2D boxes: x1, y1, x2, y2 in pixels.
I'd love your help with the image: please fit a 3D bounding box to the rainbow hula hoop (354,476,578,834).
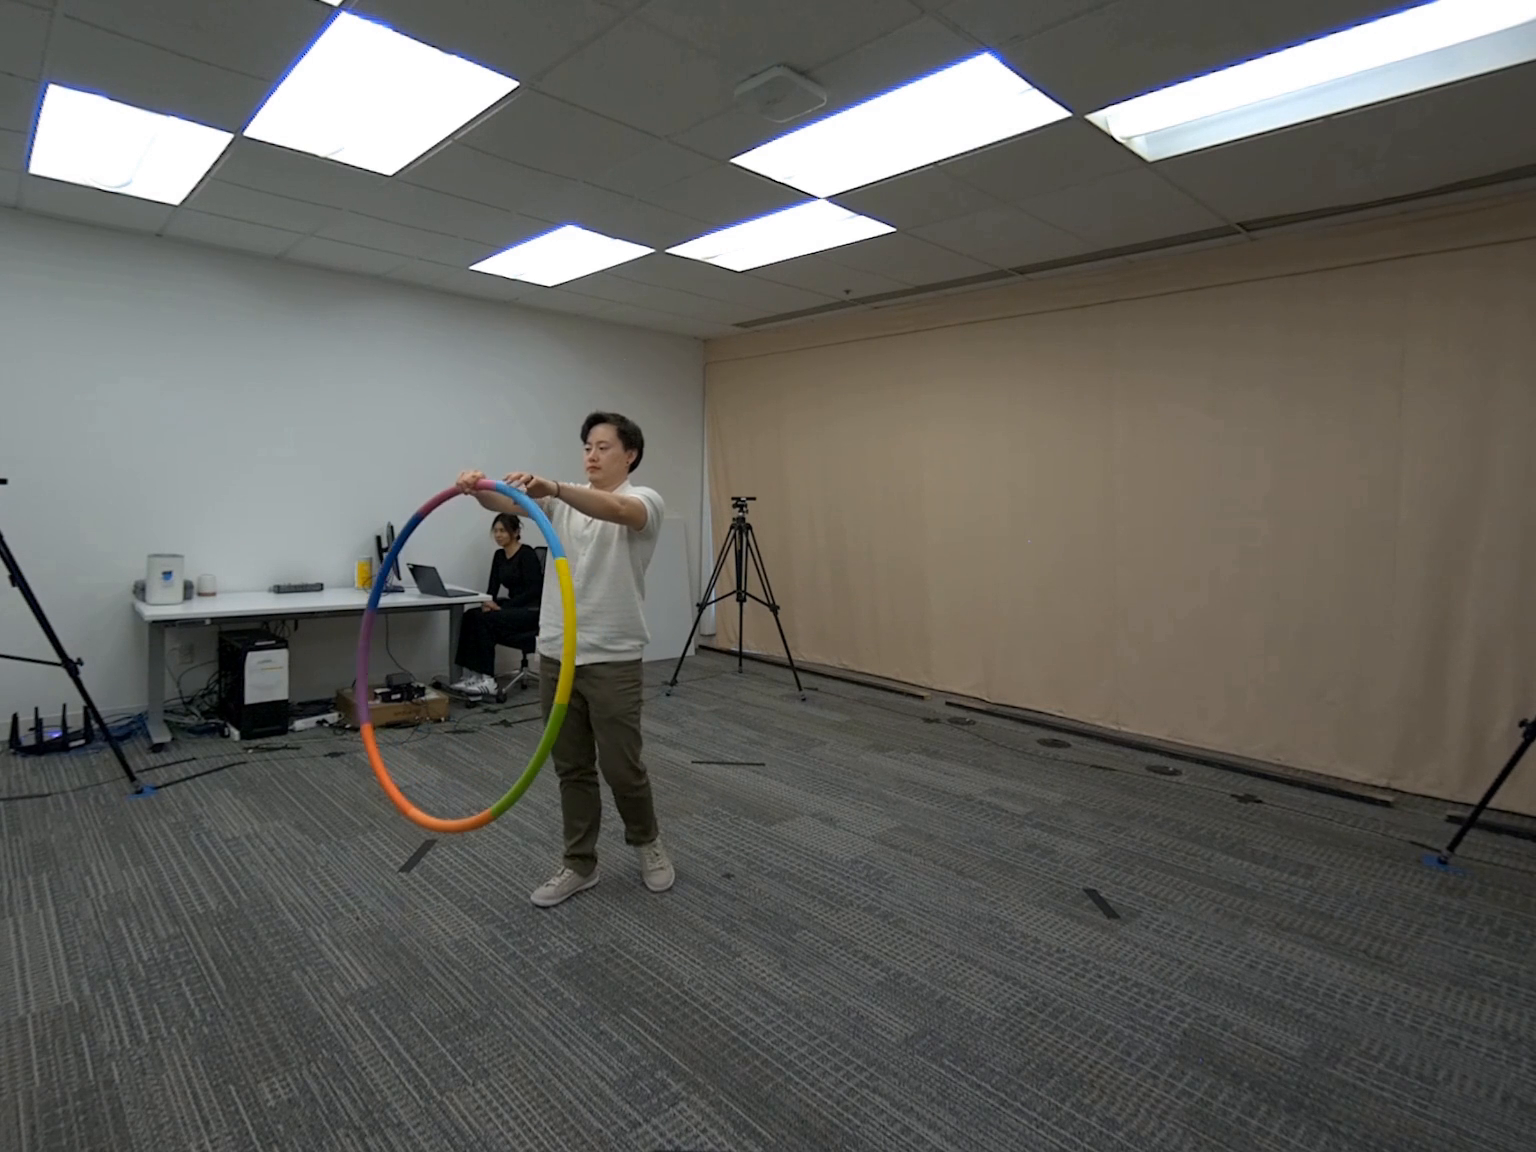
[{"bbox_3d":[-0.892,0.213,2.395,1.002,0.981,0.034,4,-5,36],"label":"rainbow hula hoop"}]
